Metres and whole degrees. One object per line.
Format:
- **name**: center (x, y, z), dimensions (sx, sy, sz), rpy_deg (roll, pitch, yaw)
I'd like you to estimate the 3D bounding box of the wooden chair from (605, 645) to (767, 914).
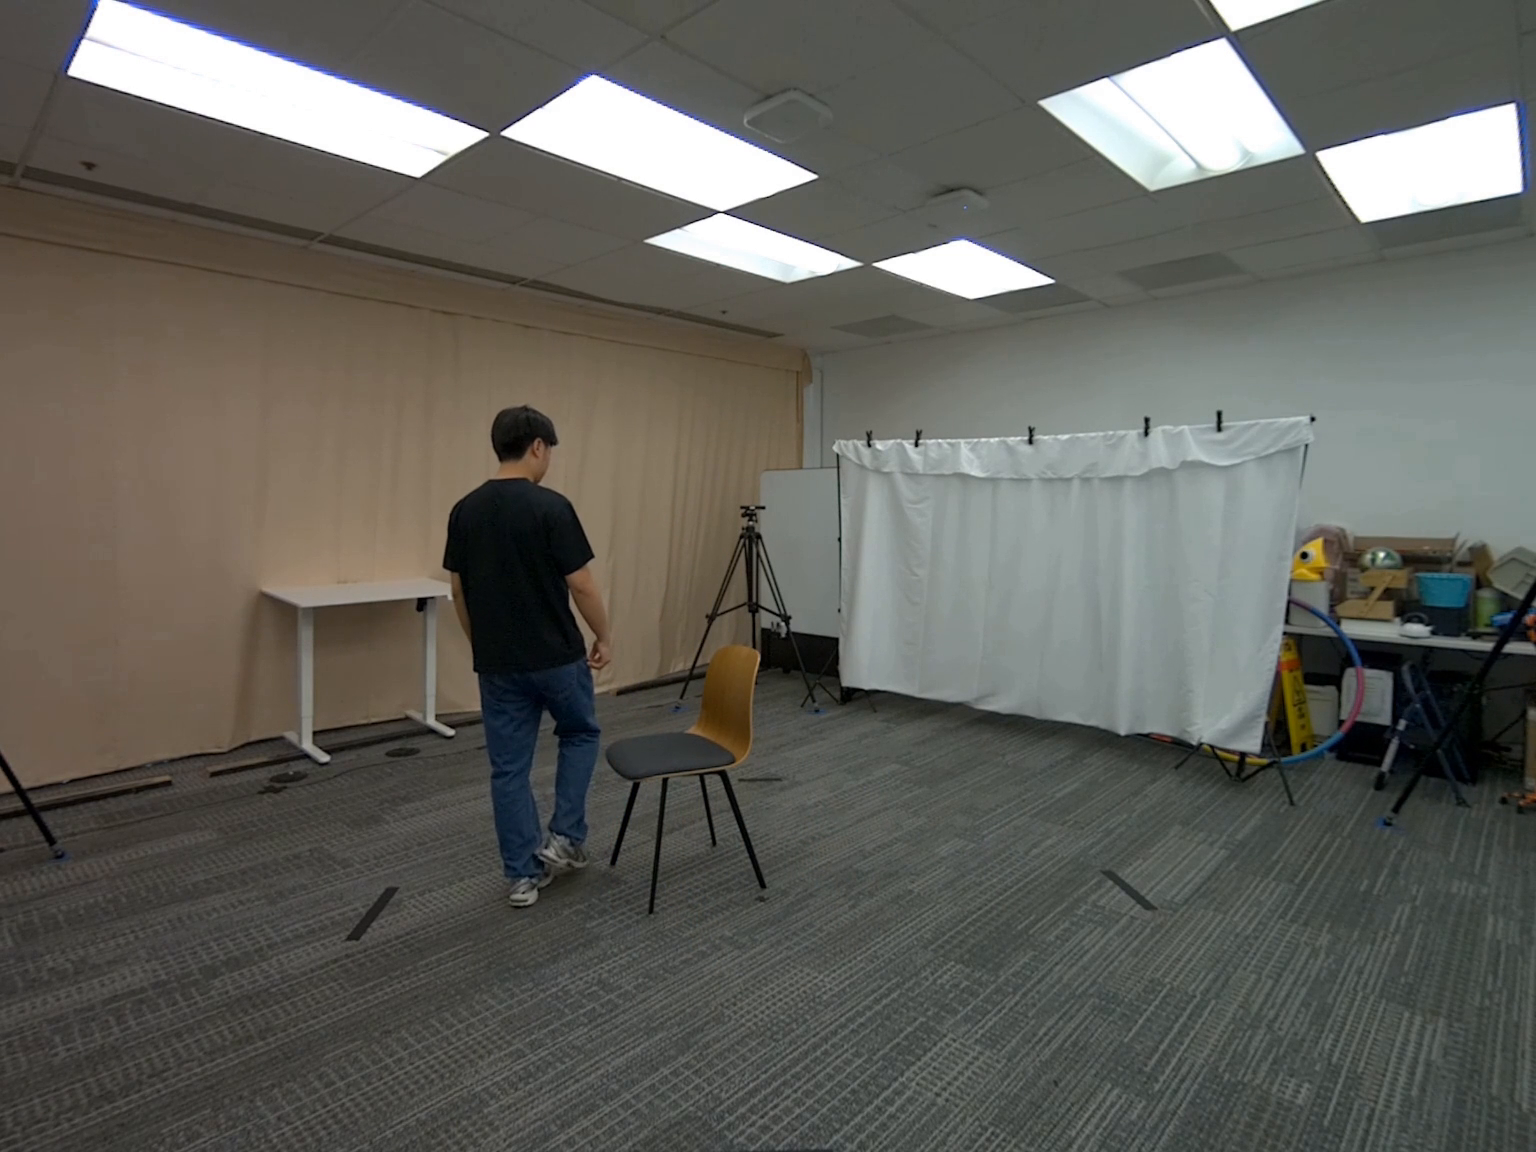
- **wooden chair**: center (-0.318, 0.705, 3.137), dimensions (0.510, 0.877, 0.491), rpy_deg (3, 2, -27)
